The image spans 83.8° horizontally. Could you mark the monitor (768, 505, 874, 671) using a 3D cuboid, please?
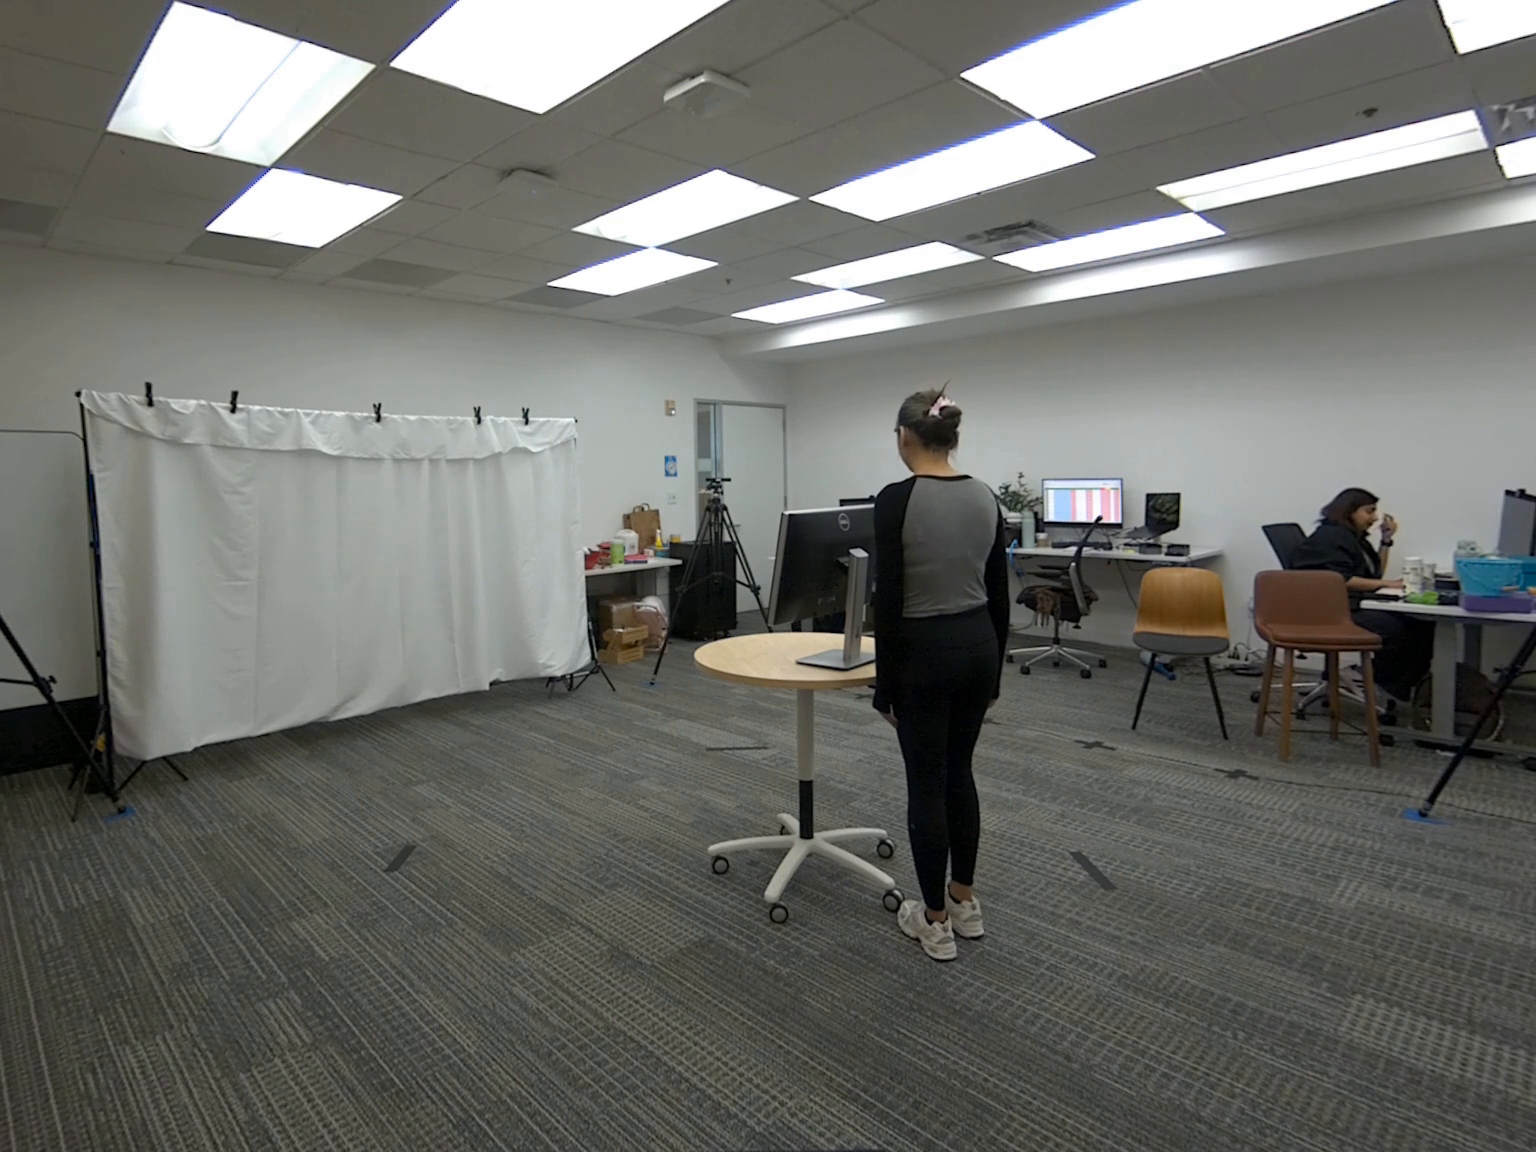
[{"bbox_3d":[0.232,0.035,2.809,0.179,0.516,0.517,-7,1,41],"label":"monitor"}]
